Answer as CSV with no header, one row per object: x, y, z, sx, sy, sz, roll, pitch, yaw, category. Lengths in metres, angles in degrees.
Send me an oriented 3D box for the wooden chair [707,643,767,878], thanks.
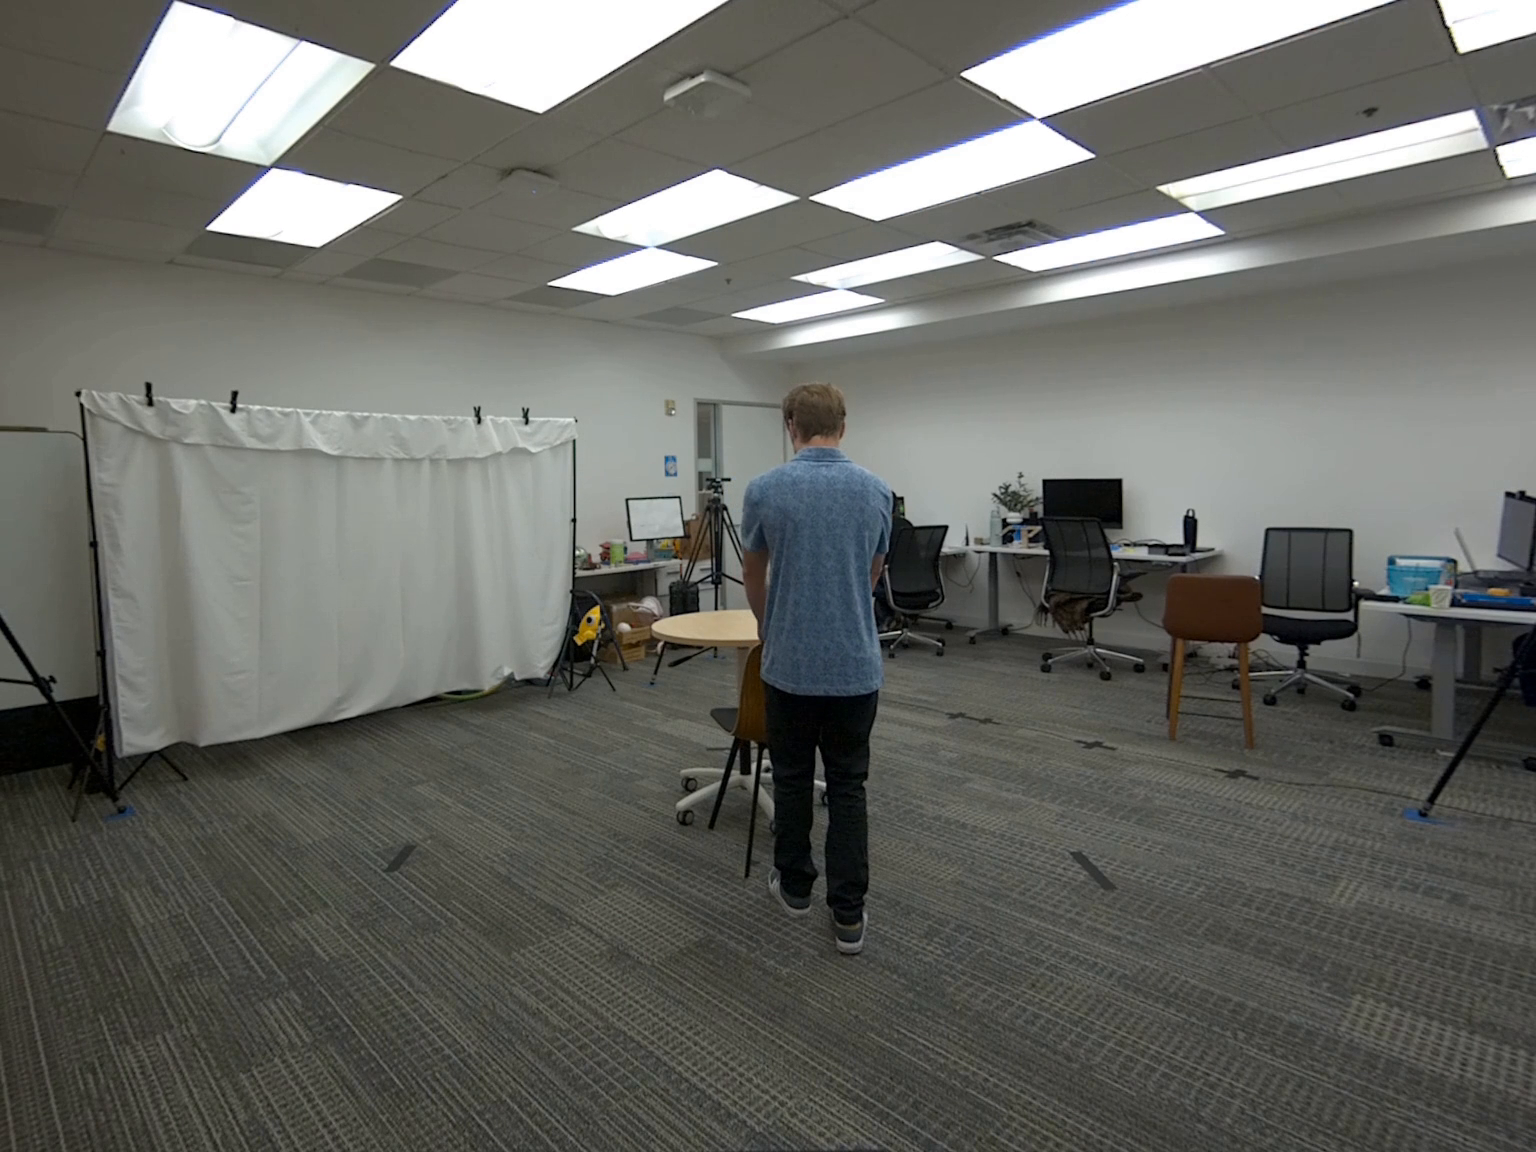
0.048,0.597,3.234,0.470,0.871,0.536,-3,9,-19,wooden chair
